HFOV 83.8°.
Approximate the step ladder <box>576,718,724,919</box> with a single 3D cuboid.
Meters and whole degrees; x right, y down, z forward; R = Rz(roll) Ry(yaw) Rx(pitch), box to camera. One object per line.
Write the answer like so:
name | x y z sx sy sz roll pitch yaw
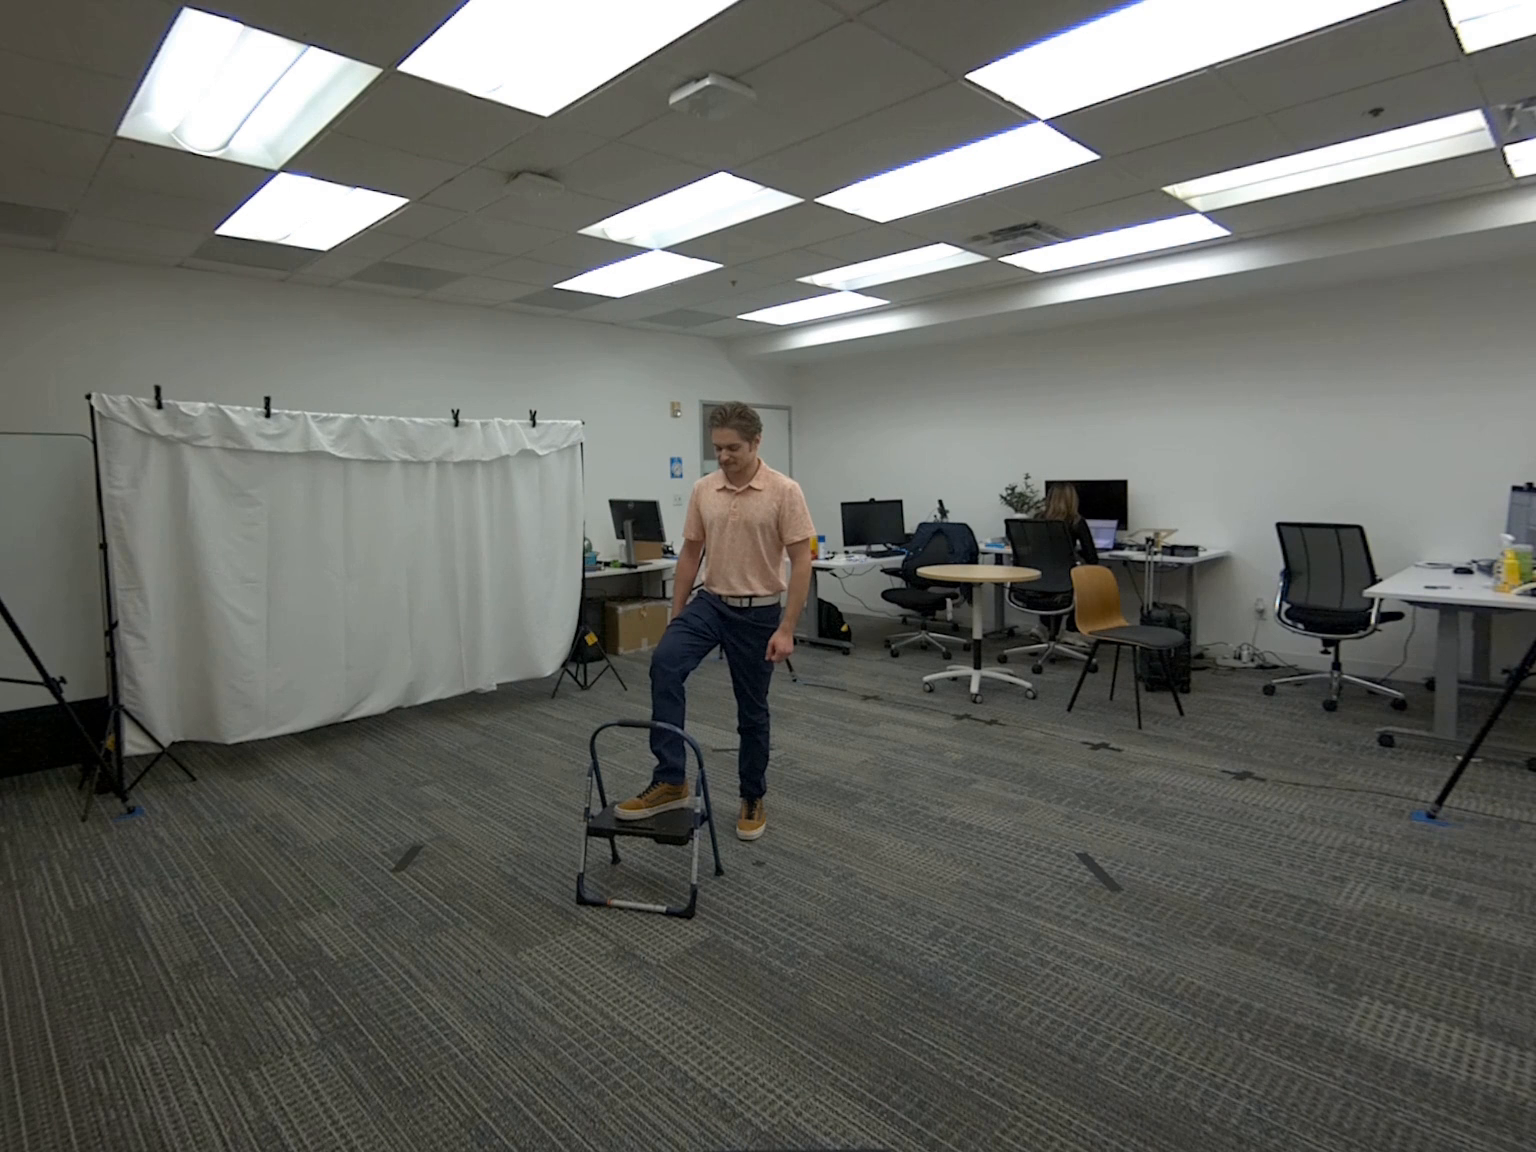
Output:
step ladder | -0.406 0.775 2.919 0.437 0.604 0.345 1 5 15
